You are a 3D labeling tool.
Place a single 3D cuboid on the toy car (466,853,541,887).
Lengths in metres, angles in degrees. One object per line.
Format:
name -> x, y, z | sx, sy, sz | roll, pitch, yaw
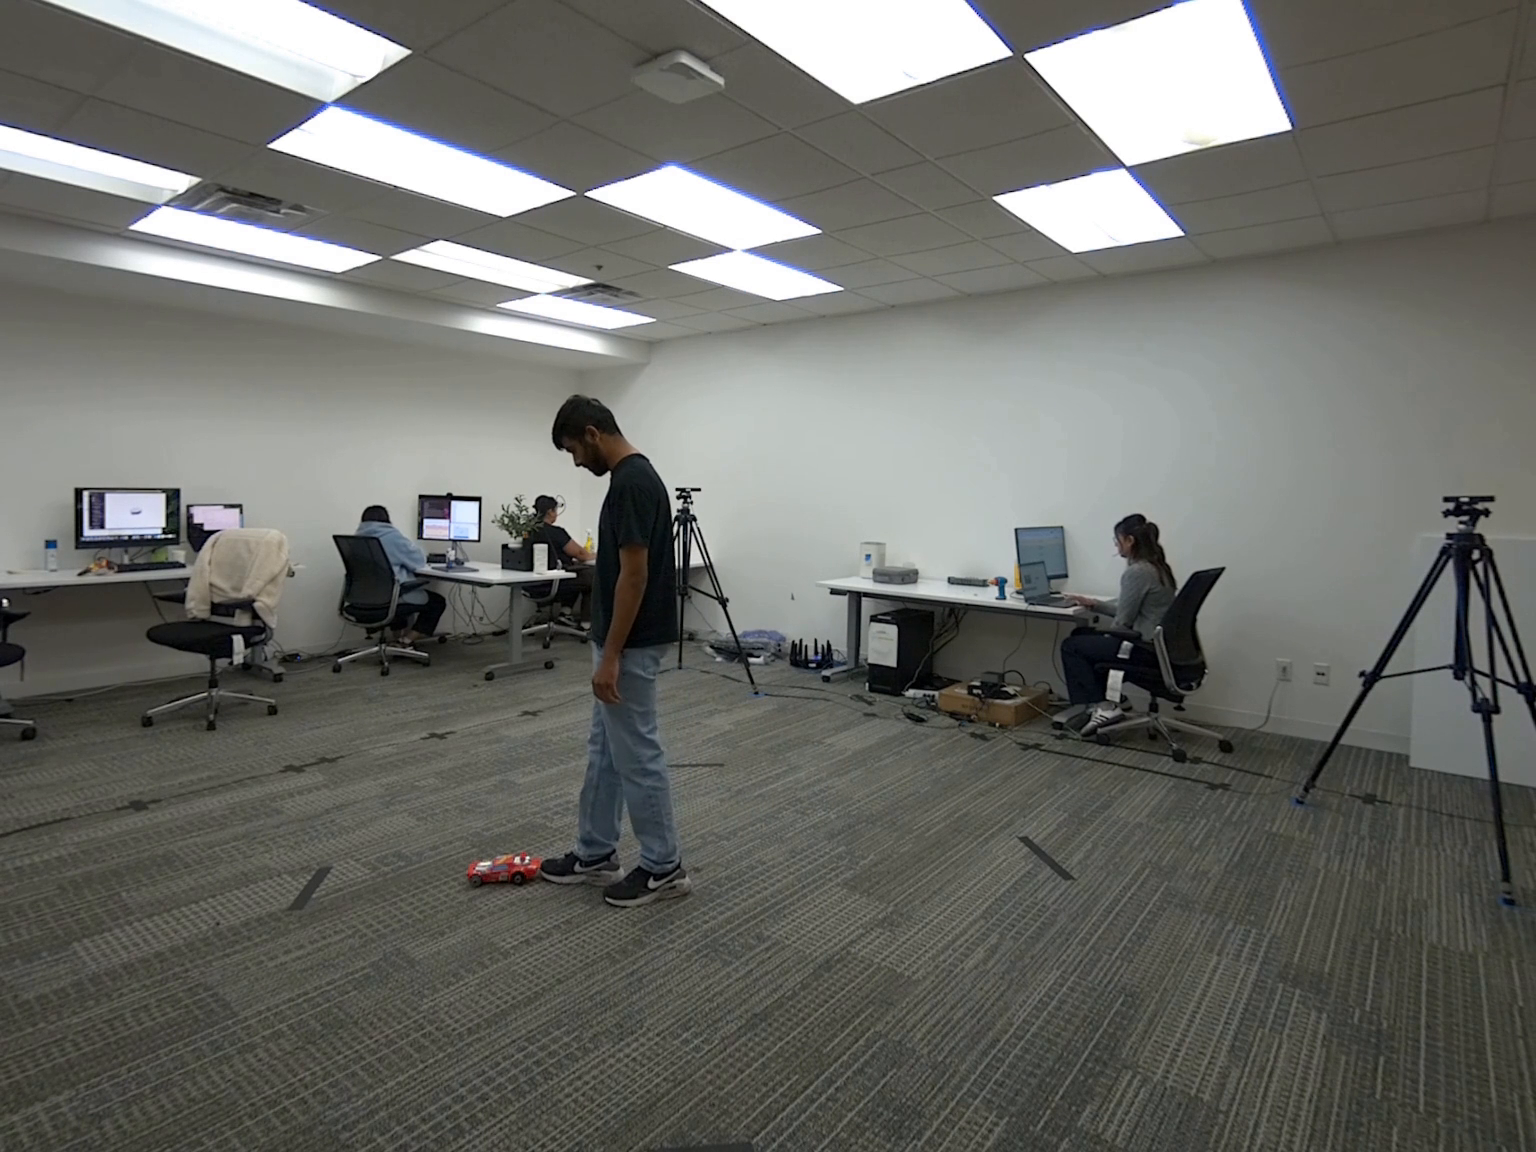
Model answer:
toy car -> -0.938, 1.036, 3.011 | 0.253, 0.083, 0.132 | -11, 7, -5
